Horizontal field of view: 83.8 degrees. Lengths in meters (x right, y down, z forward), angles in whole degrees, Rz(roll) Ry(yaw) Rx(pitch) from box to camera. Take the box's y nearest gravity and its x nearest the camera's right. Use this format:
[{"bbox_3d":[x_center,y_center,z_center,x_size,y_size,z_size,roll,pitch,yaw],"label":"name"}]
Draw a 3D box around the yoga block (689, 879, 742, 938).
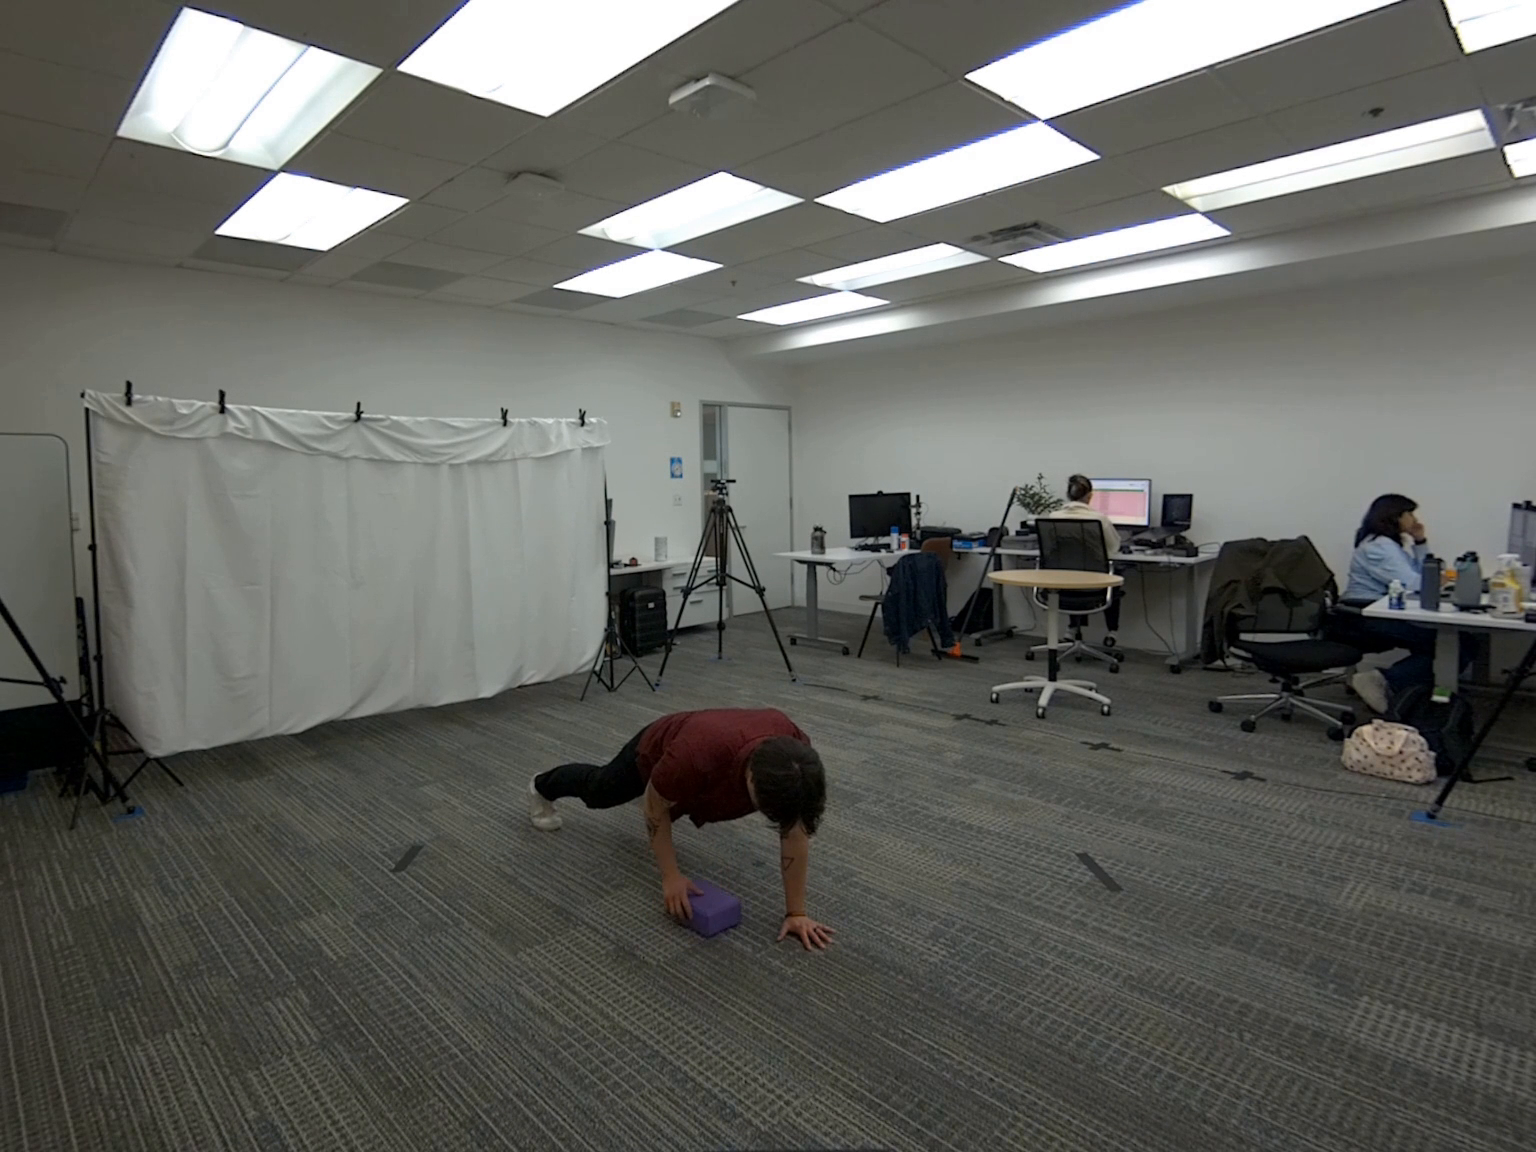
[{"bbox_3d":[-0.206,1.052,2.734,0.145,0.076,0.236,-6,8,-42],"label":"yoga block"}]
